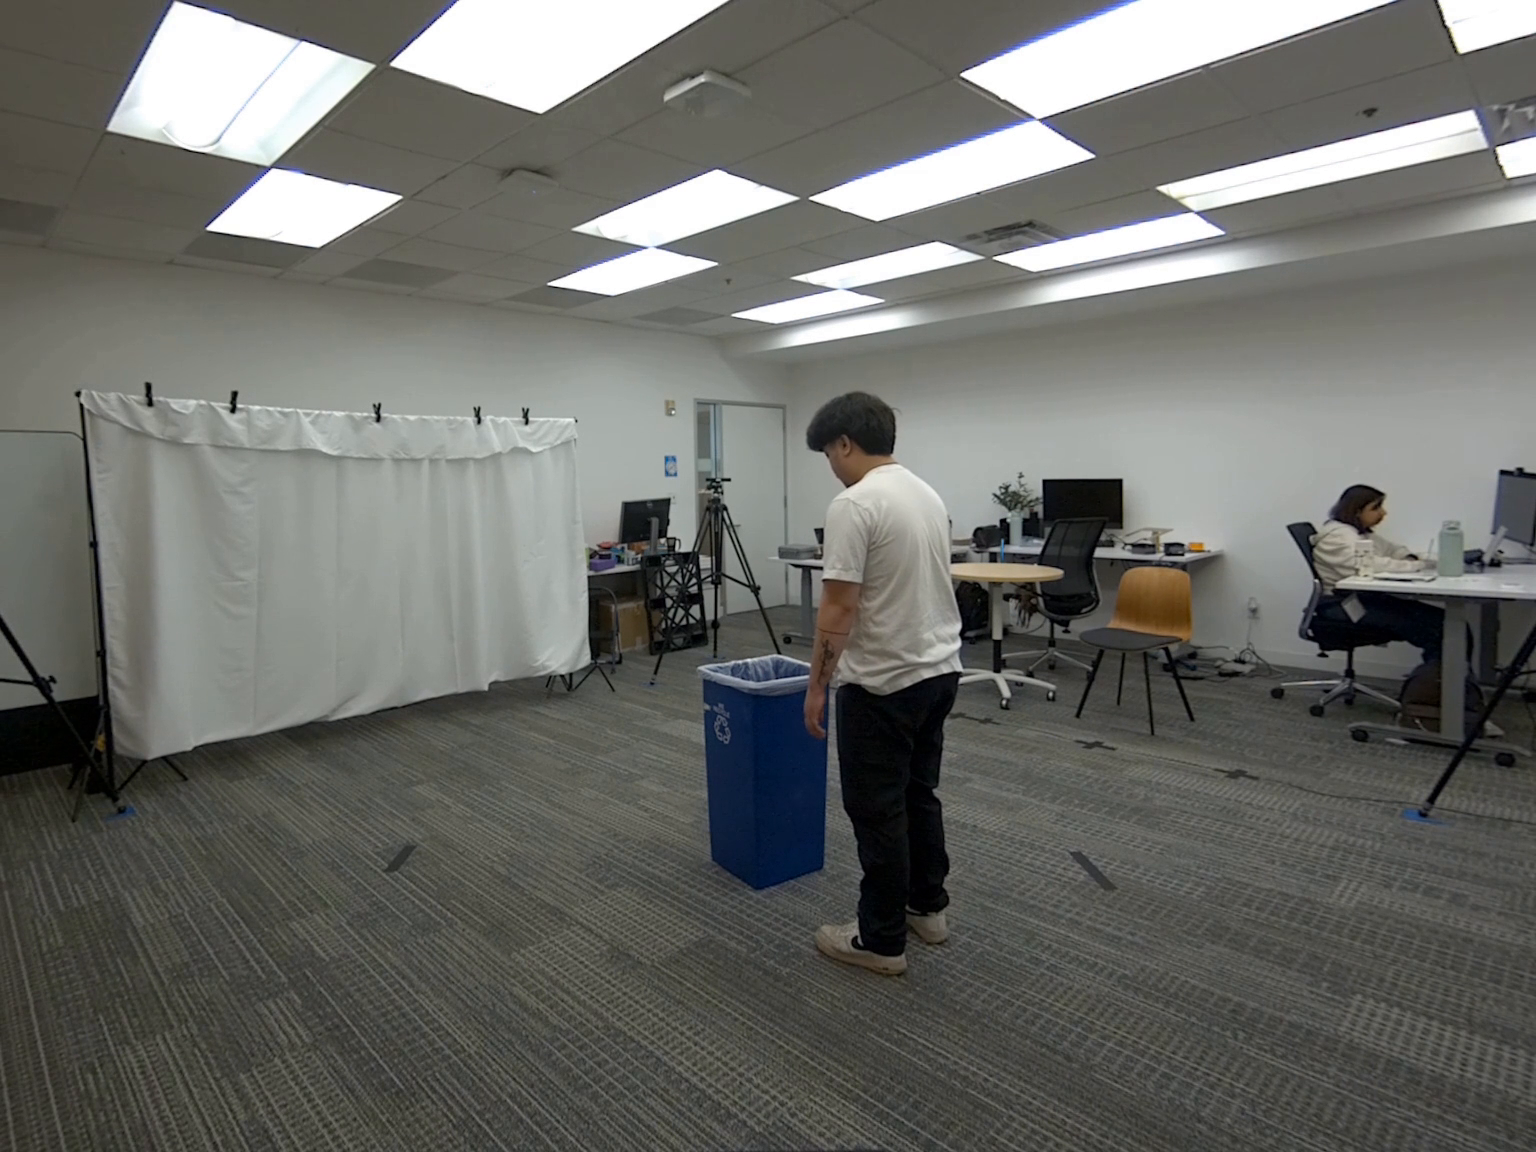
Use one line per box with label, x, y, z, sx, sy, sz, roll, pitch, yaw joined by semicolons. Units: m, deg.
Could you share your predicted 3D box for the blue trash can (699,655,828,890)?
blue trash can;0.001;0.687;3.070;0.368;0.711;0.385;-4;4;-35
